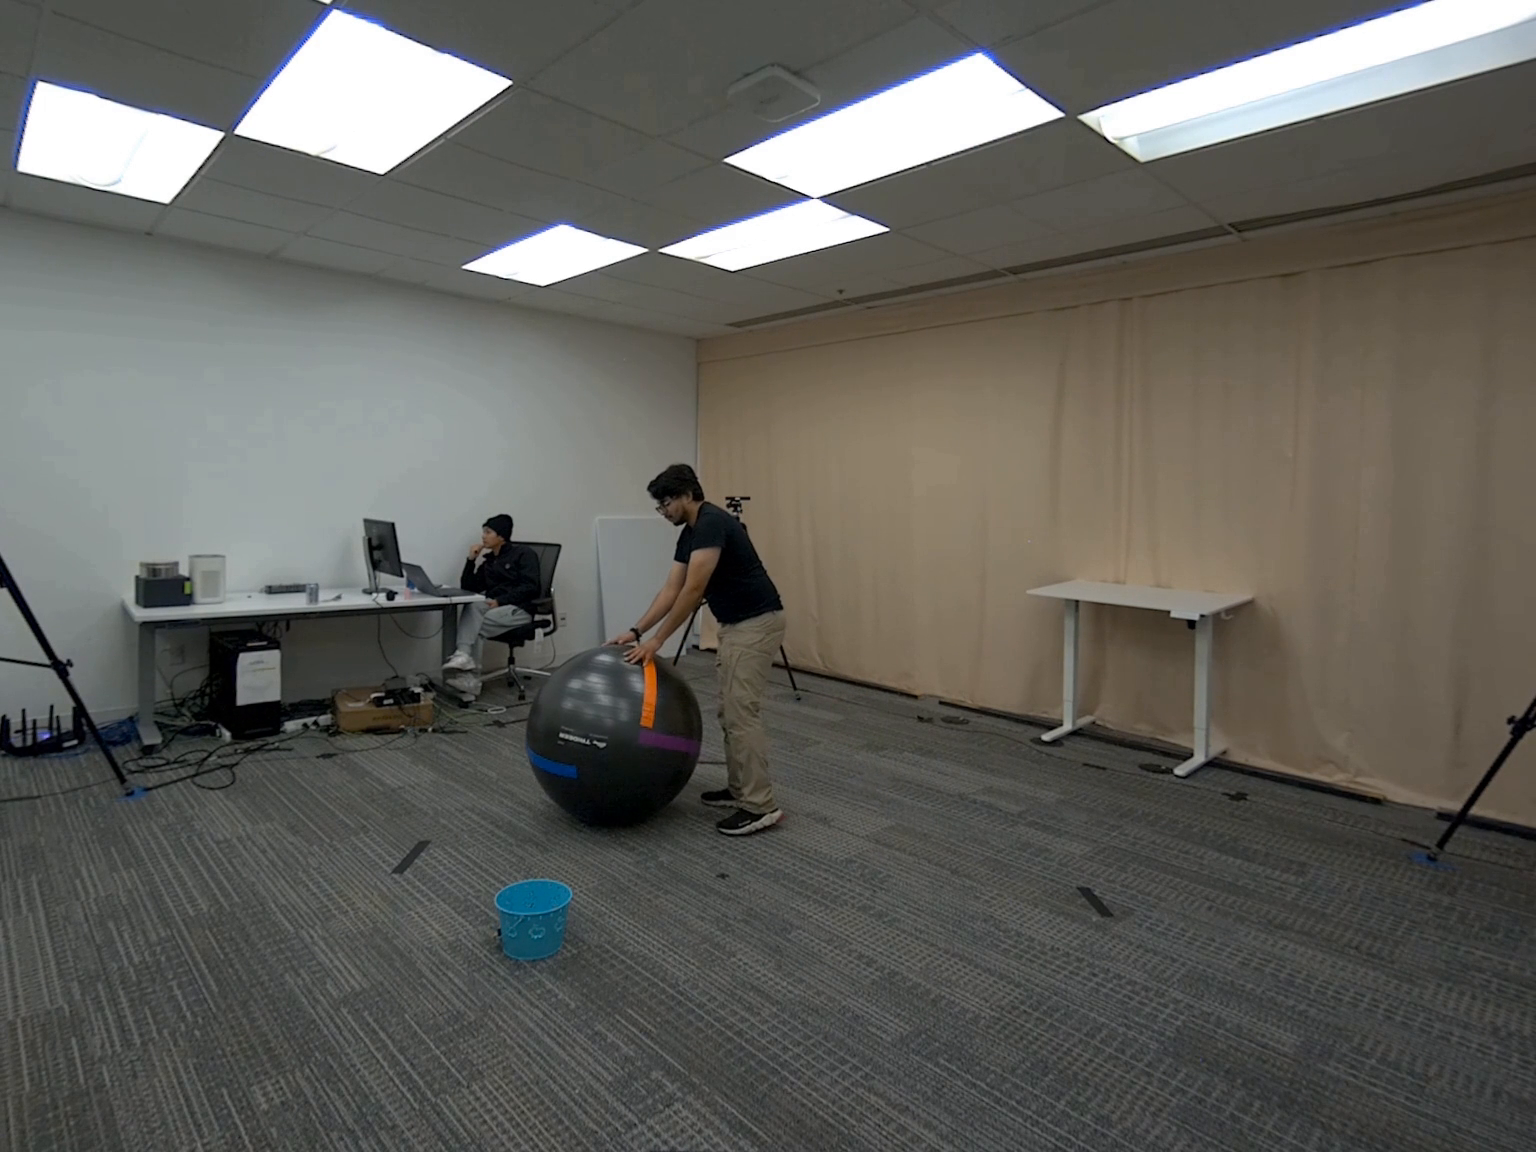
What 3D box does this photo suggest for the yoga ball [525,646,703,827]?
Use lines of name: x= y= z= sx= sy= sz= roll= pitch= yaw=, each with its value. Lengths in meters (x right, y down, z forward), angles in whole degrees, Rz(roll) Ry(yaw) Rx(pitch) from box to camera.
yoga ball: x=-0.680 y=0.686 z=3.654 sx=0.757 sy=0.756 sz=0.761 roll=1 pitch=4 yaw=-1
